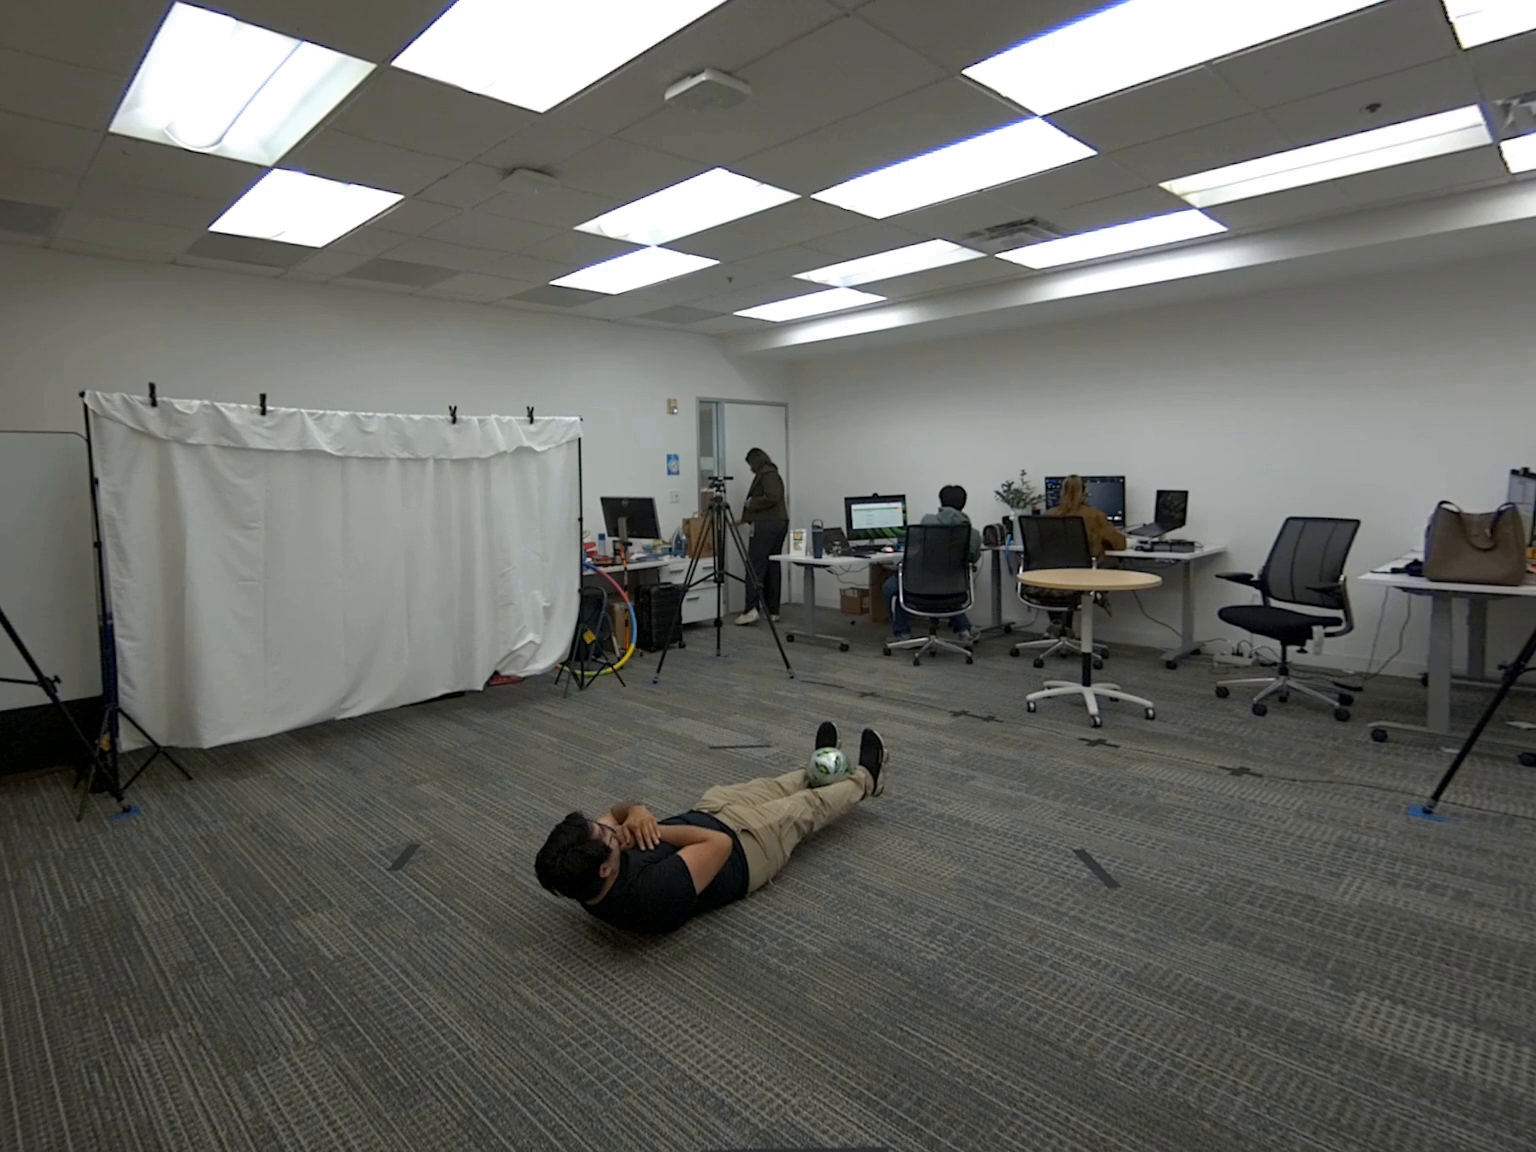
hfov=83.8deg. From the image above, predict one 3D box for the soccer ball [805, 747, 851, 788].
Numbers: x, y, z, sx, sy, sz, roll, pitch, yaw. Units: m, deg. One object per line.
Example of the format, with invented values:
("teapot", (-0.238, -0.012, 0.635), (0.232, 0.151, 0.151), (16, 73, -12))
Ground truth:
("soccer ball", (0.264, 0.797, 3.495), (0.187, 0.187, 0.188), (-1, 4, -2))
